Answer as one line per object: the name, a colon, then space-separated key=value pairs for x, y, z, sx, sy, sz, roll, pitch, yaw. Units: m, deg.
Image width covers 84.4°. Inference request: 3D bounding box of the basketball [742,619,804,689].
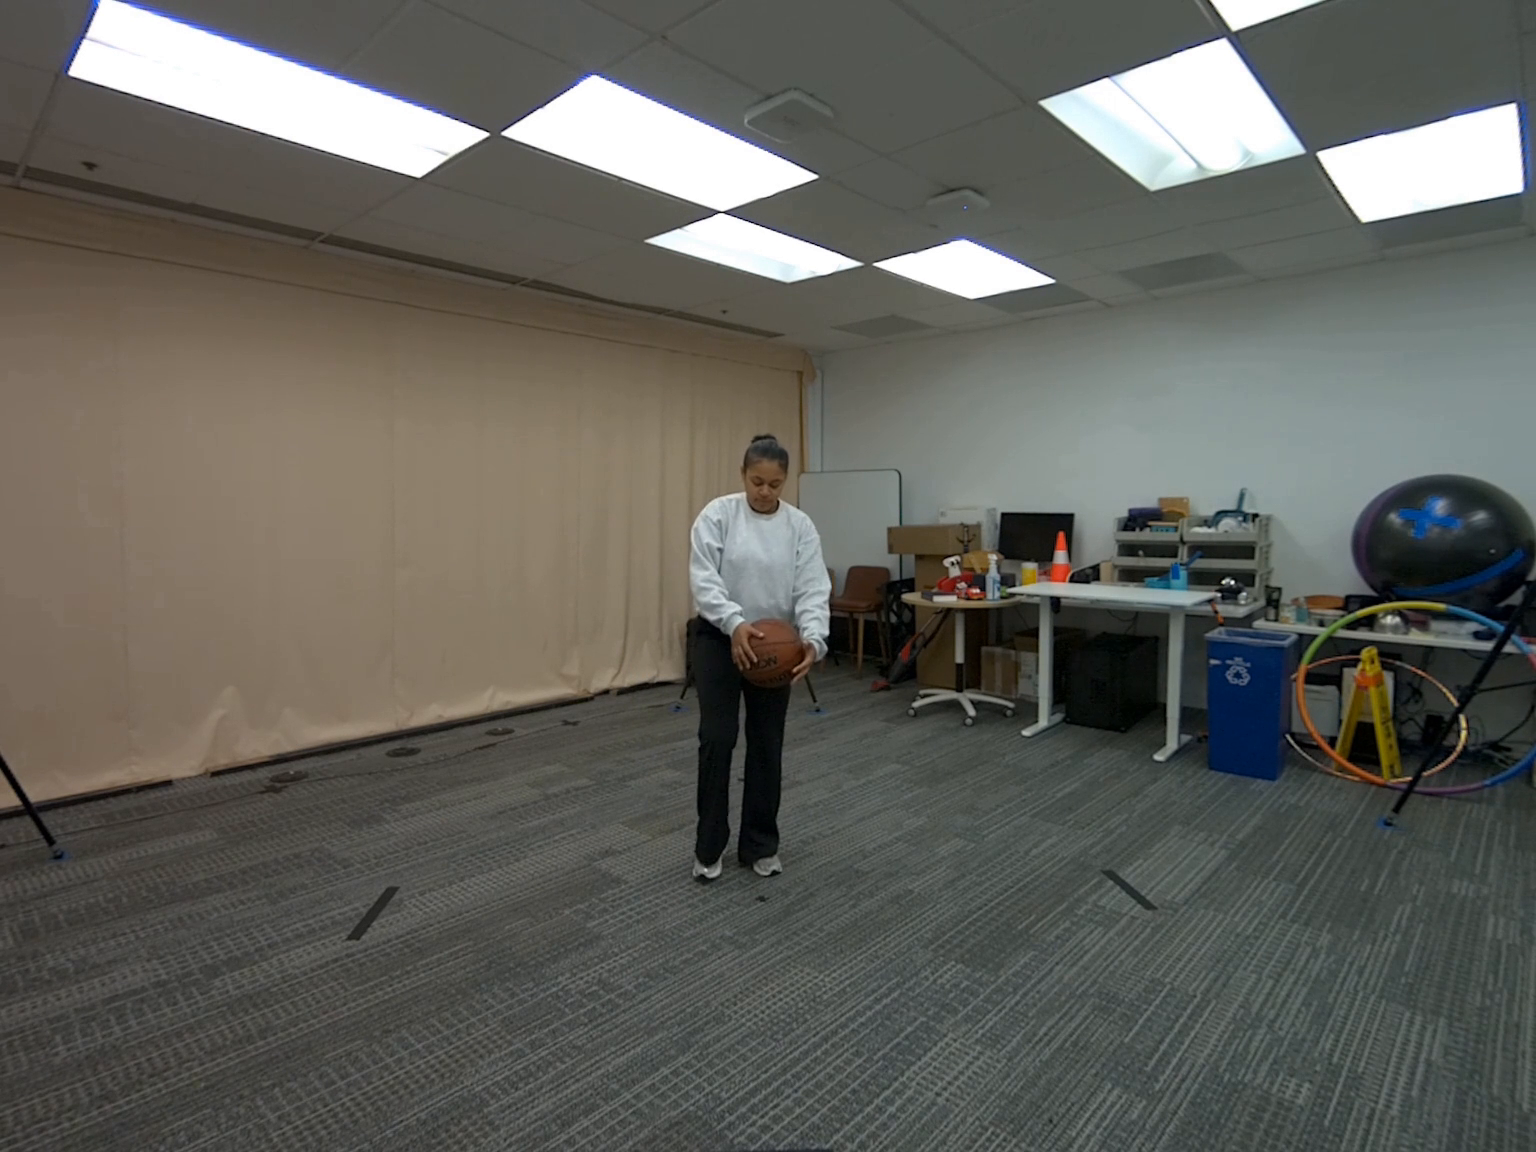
basketball: x=0.013 y=0.238 z=2.908 sx=0.236 sy=0.235 sz=0.237 roll=0 pitch=4 yaw=-2
